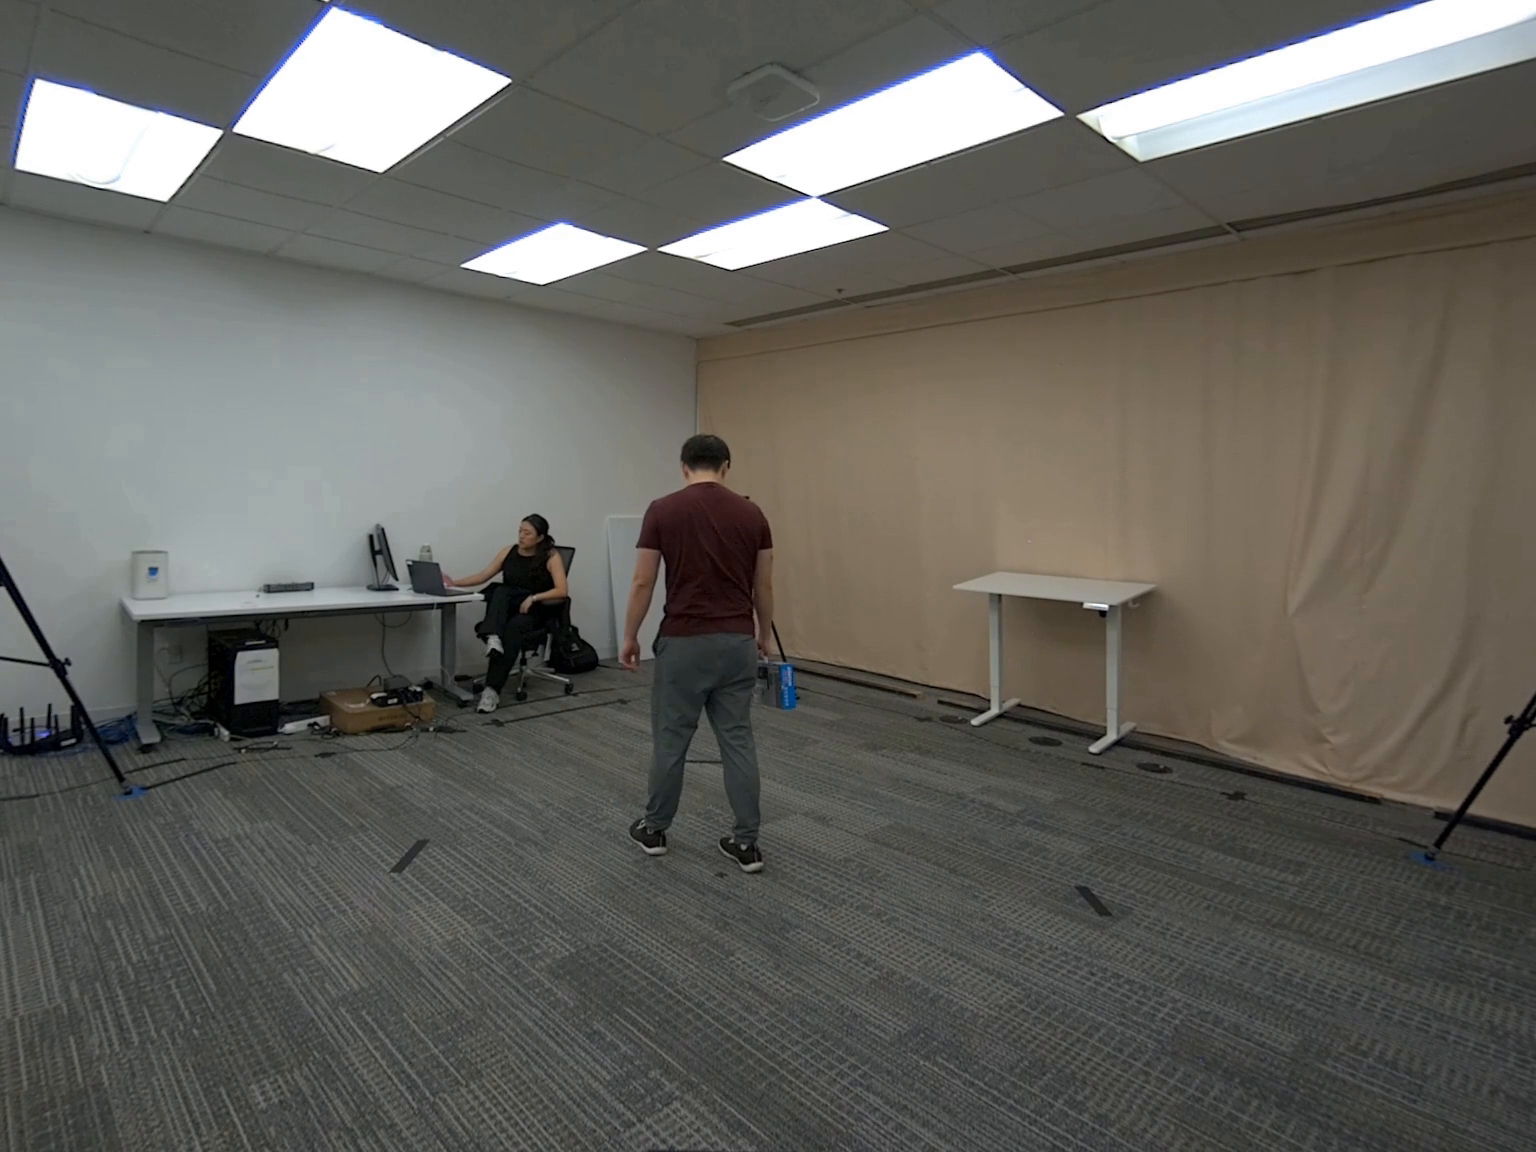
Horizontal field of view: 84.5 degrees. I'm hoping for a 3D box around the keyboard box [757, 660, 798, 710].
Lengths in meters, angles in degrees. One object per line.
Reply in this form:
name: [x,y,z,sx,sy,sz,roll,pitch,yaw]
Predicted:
keyboard box: [-0.033,0.433,3.428,0.058,0.176,0.444,-3,-1,-26]
